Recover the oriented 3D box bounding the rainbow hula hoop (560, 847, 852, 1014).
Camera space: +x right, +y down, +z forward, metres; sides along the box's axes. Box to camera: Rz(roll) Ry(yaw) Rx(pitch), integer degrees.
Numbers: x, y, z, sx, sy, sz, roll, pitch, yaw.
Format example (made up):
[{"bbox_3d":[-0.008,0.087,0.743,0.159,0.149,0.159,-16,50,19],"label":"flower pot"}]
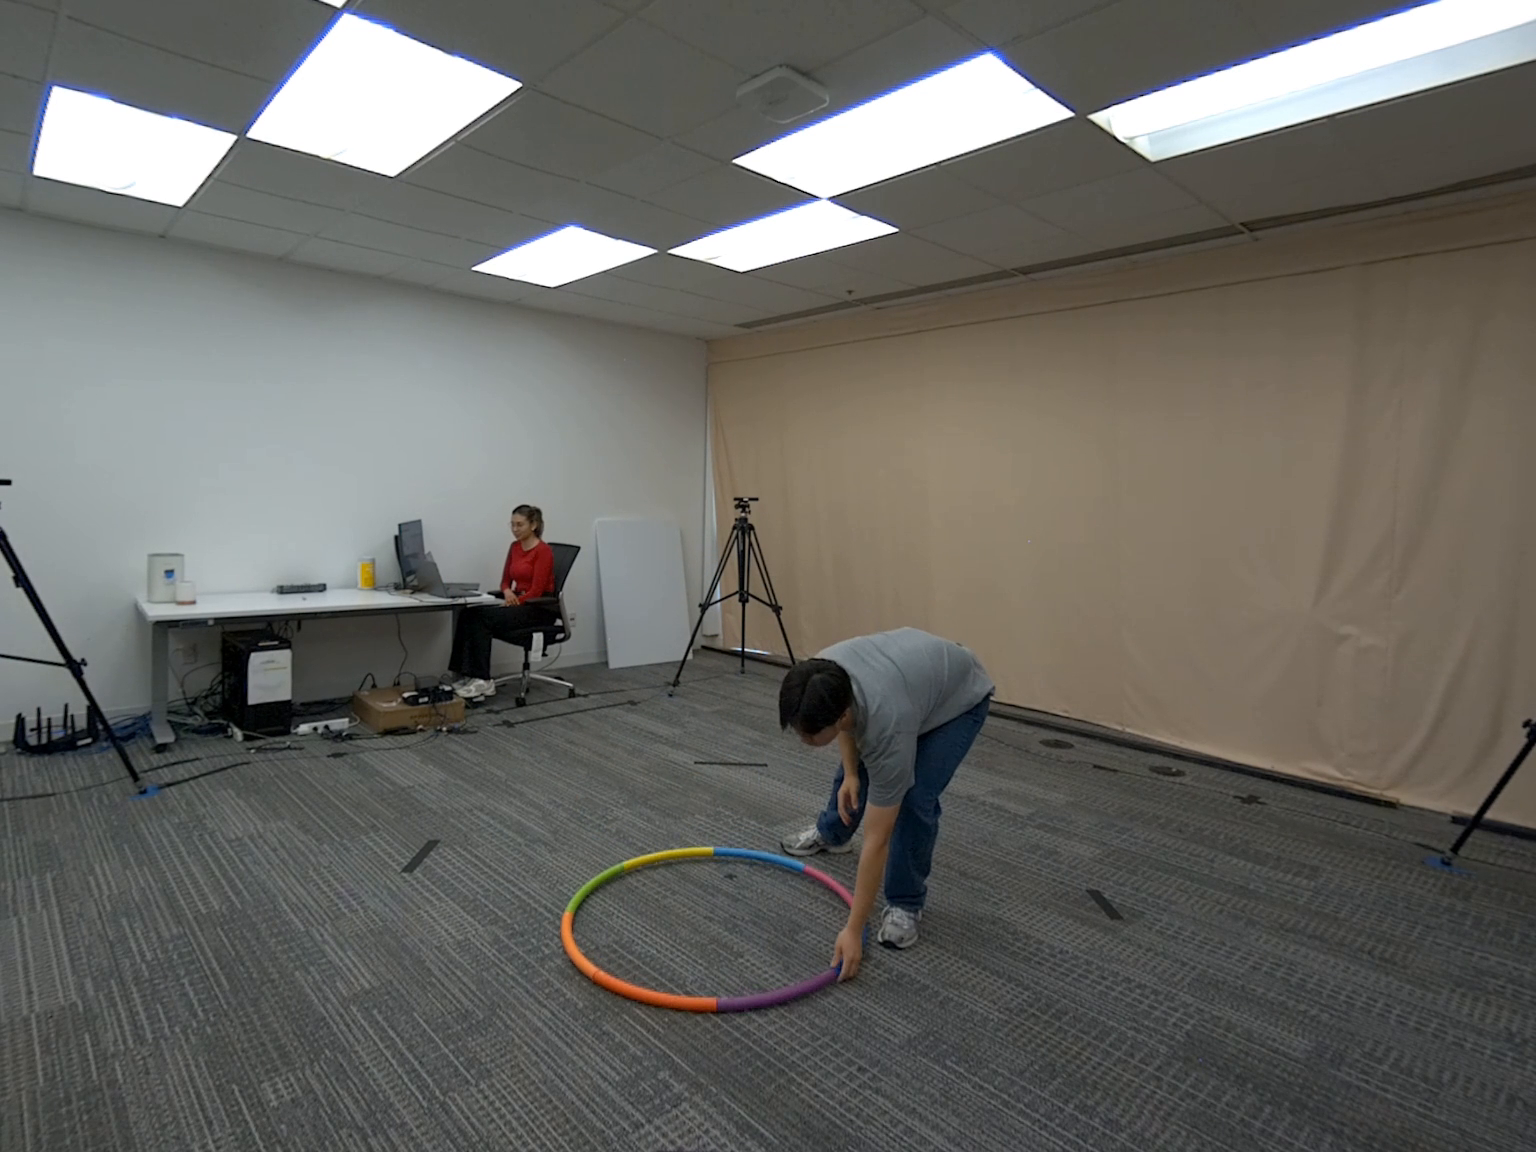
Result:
[{"bbox_3d":[-0.182,1.100,2.759,0.978,0.035,0.983,1,6,-1],"label":"rainbow hula hoop"}]
